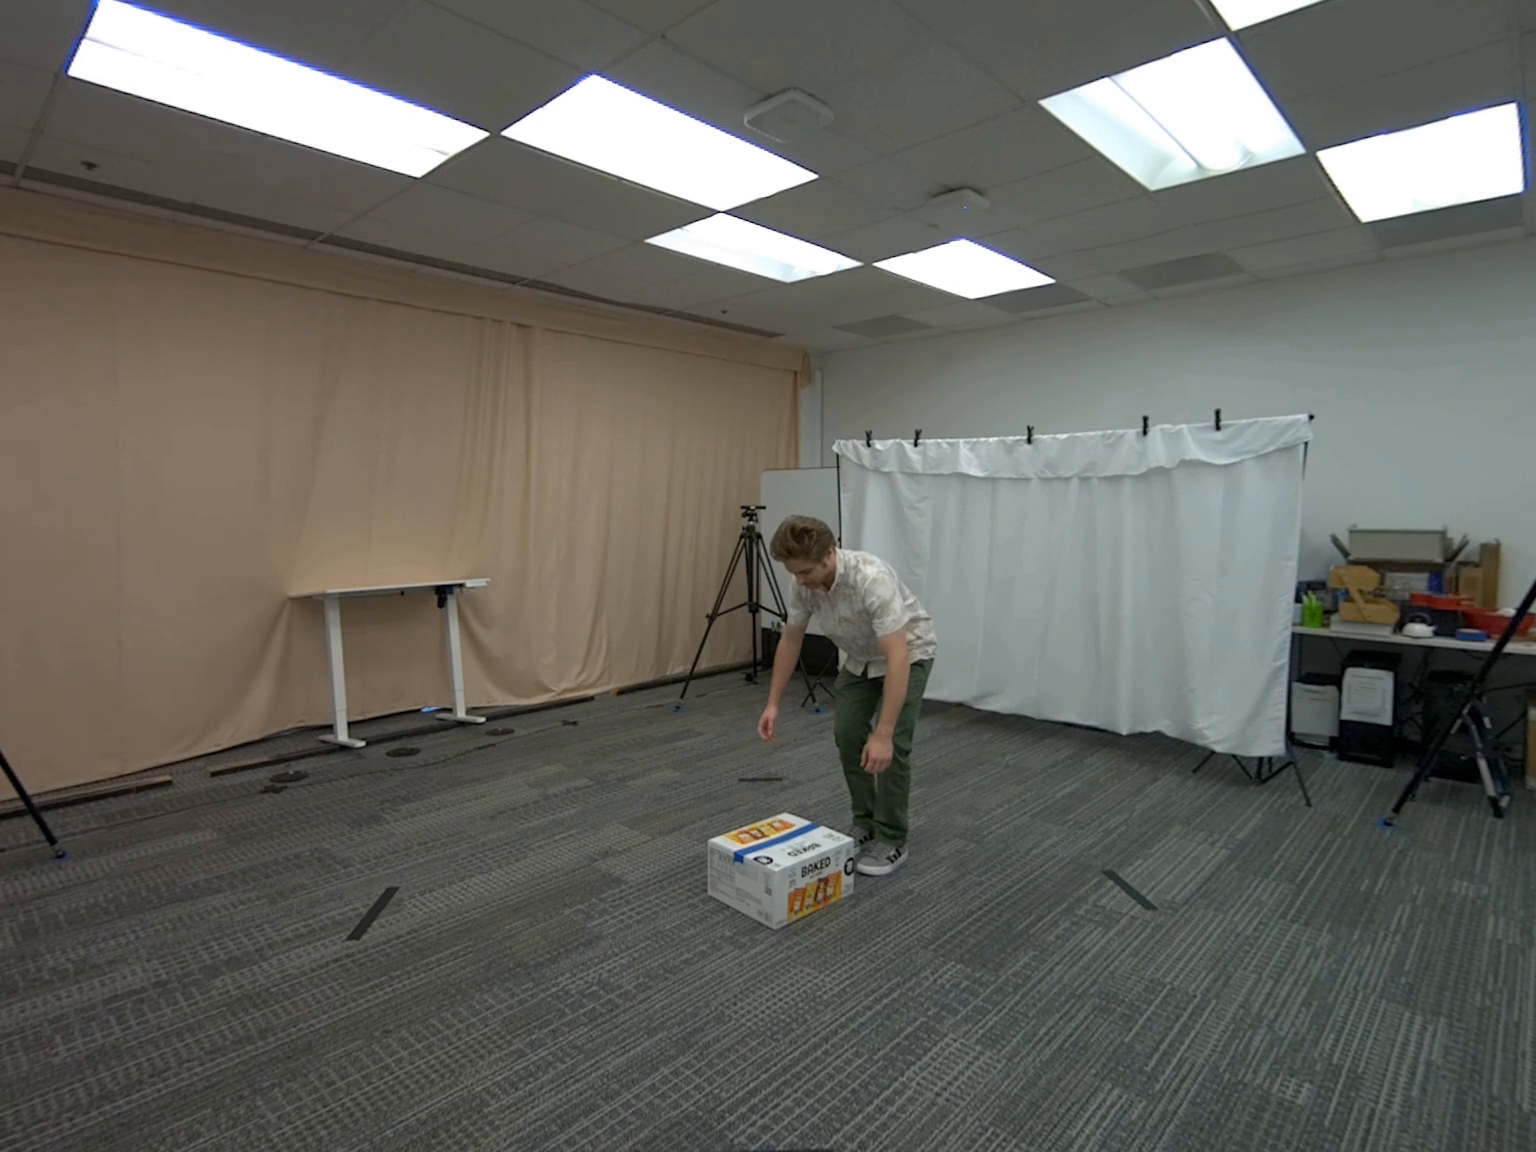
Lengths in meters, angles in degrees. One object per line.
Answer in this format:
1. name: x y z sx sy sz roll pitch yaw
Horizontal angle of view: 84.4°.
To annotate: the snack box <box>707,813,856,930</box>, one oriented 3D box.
1. snack box: 0.049 1.041 3.003 0.393 0.205 0.352 -4 6 -43
